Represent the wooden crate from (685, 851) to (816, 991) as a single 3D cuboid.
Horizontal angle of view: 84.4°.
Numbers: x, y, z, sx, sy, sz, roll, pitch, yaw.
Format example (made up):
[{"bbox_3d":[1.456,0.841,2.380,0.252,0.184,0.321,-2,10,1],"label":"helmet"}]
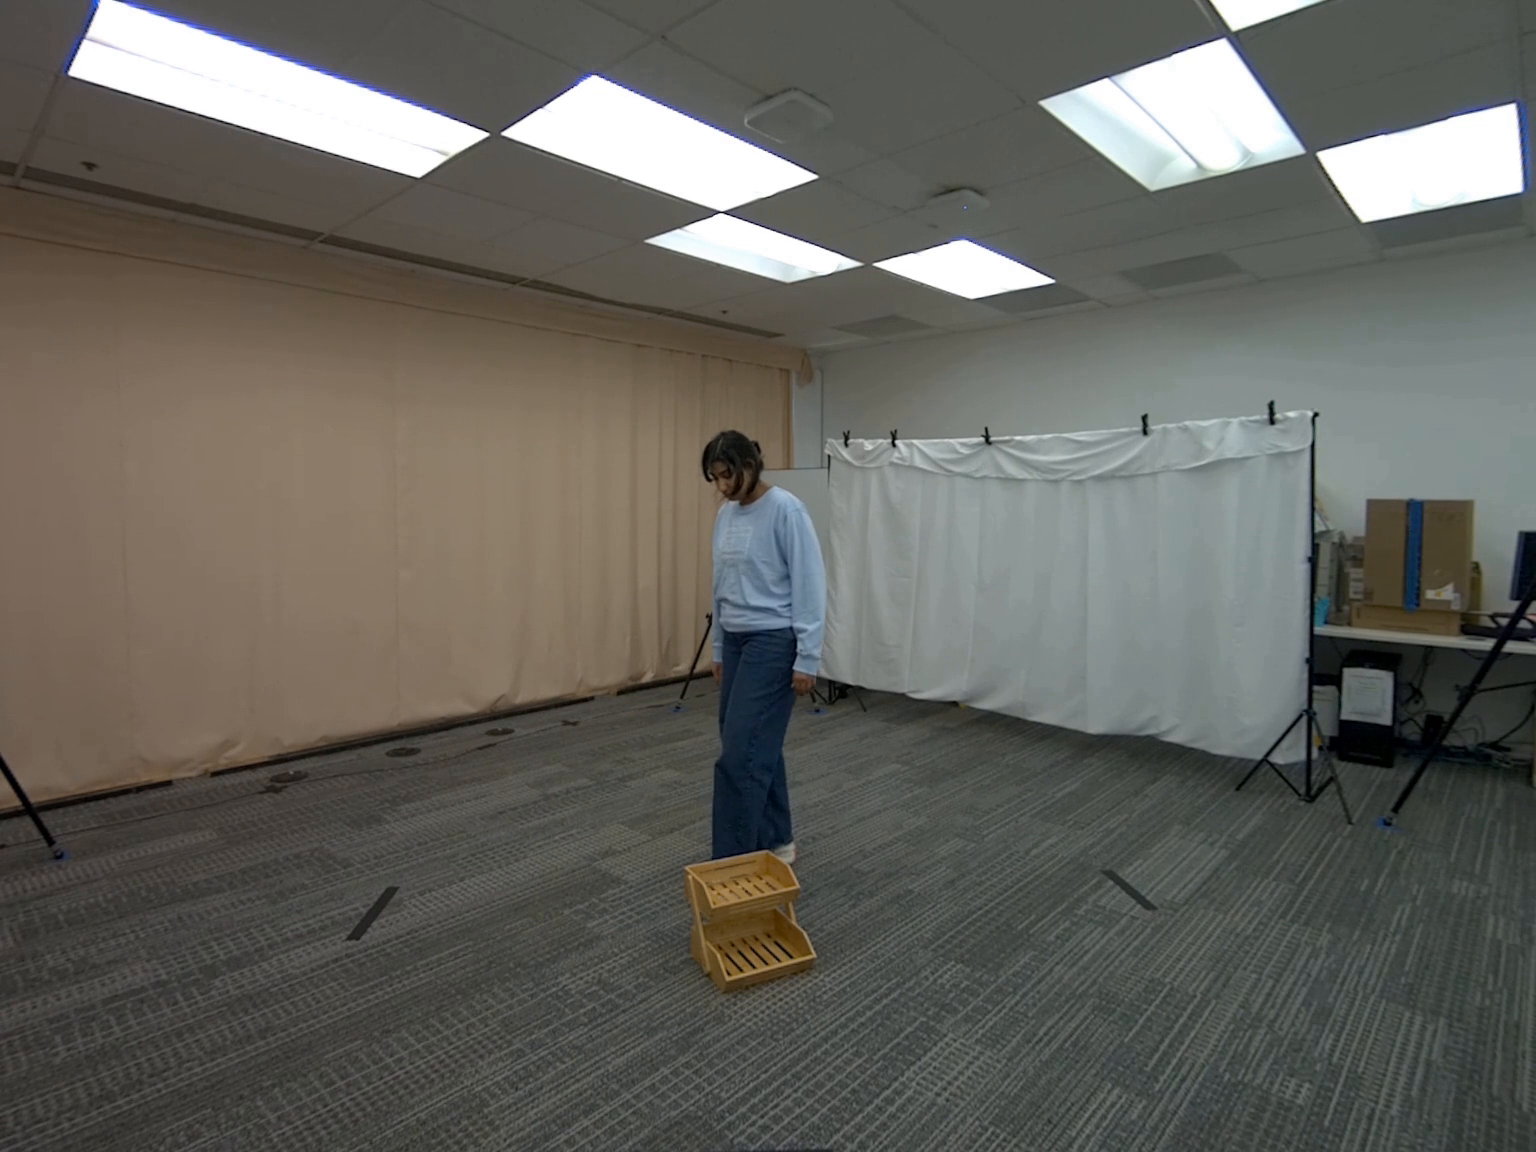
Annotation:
[{"bbox_3d":[-0.054,1.037,2.581,0.316,0.273,0.310,-2,3,-27],"label":"wooden crate"}]
